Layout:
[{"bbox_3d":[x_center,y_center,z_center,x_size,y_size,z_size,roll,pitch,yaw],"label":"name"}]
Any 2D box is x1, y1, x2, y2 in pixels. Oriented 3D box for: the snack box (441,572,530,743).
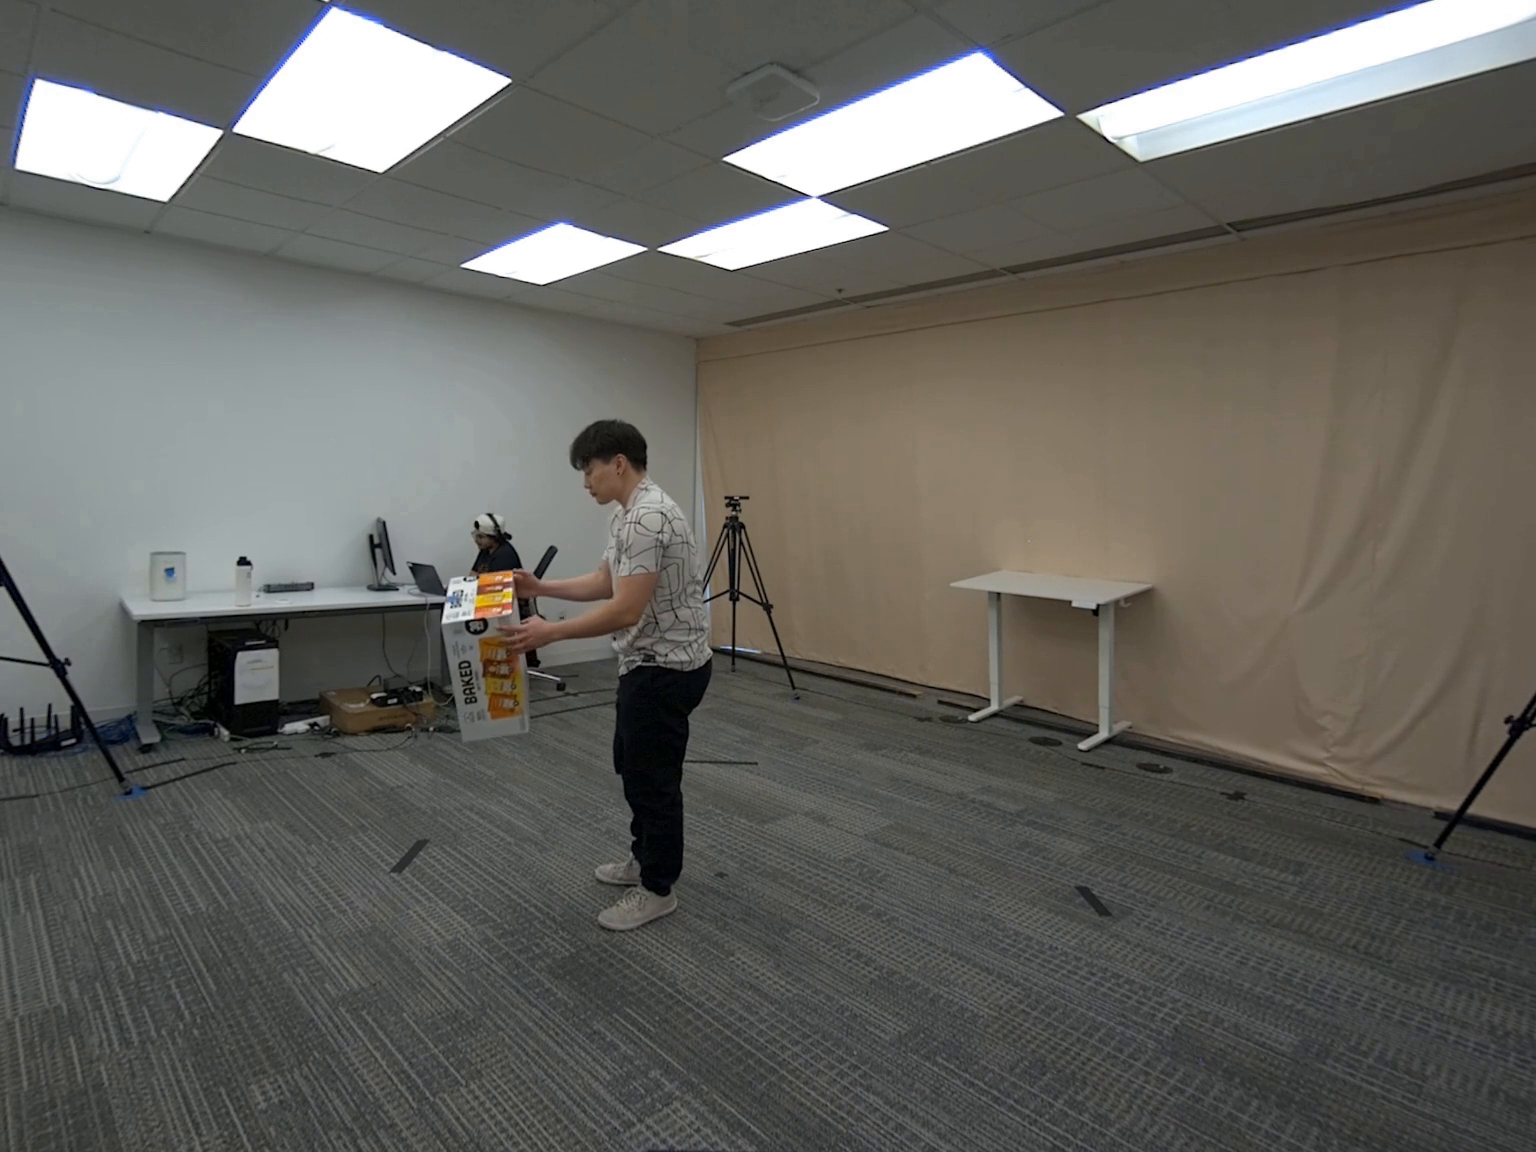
[{"bbox_3d":[-0.882,0.247,2.664,0.204,0.399,0.348,-7,22,-12],"label":"snack box"}]
